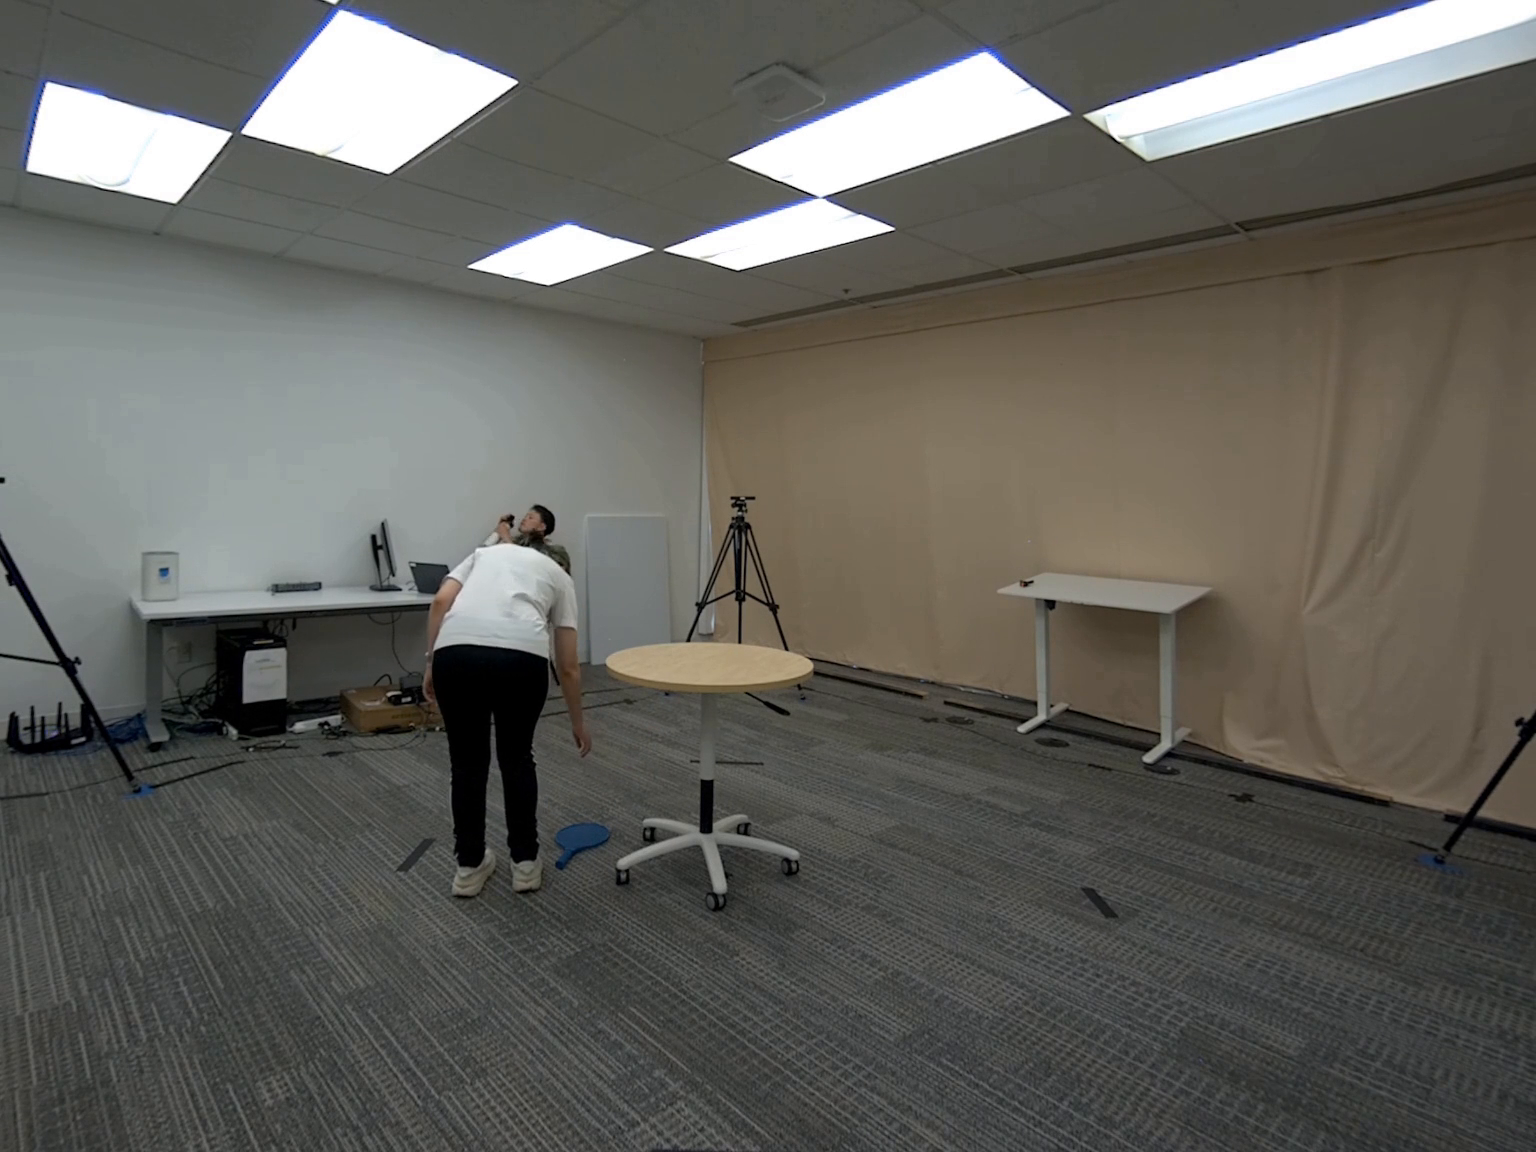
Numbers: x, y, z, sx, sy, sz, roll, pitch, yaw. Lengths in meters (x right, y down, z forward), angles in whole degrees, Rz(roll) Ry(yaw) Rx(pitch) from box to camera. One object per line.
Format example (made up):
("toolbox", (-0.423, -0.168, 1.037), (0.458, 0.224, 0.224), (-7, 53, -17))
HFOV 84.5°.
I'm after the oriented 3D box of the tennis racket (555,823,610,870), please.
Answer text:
("tennis racket", (-0.758, 1.054, 3.328), (0.214, 0.032, 0.432), (2, 4, 4))
